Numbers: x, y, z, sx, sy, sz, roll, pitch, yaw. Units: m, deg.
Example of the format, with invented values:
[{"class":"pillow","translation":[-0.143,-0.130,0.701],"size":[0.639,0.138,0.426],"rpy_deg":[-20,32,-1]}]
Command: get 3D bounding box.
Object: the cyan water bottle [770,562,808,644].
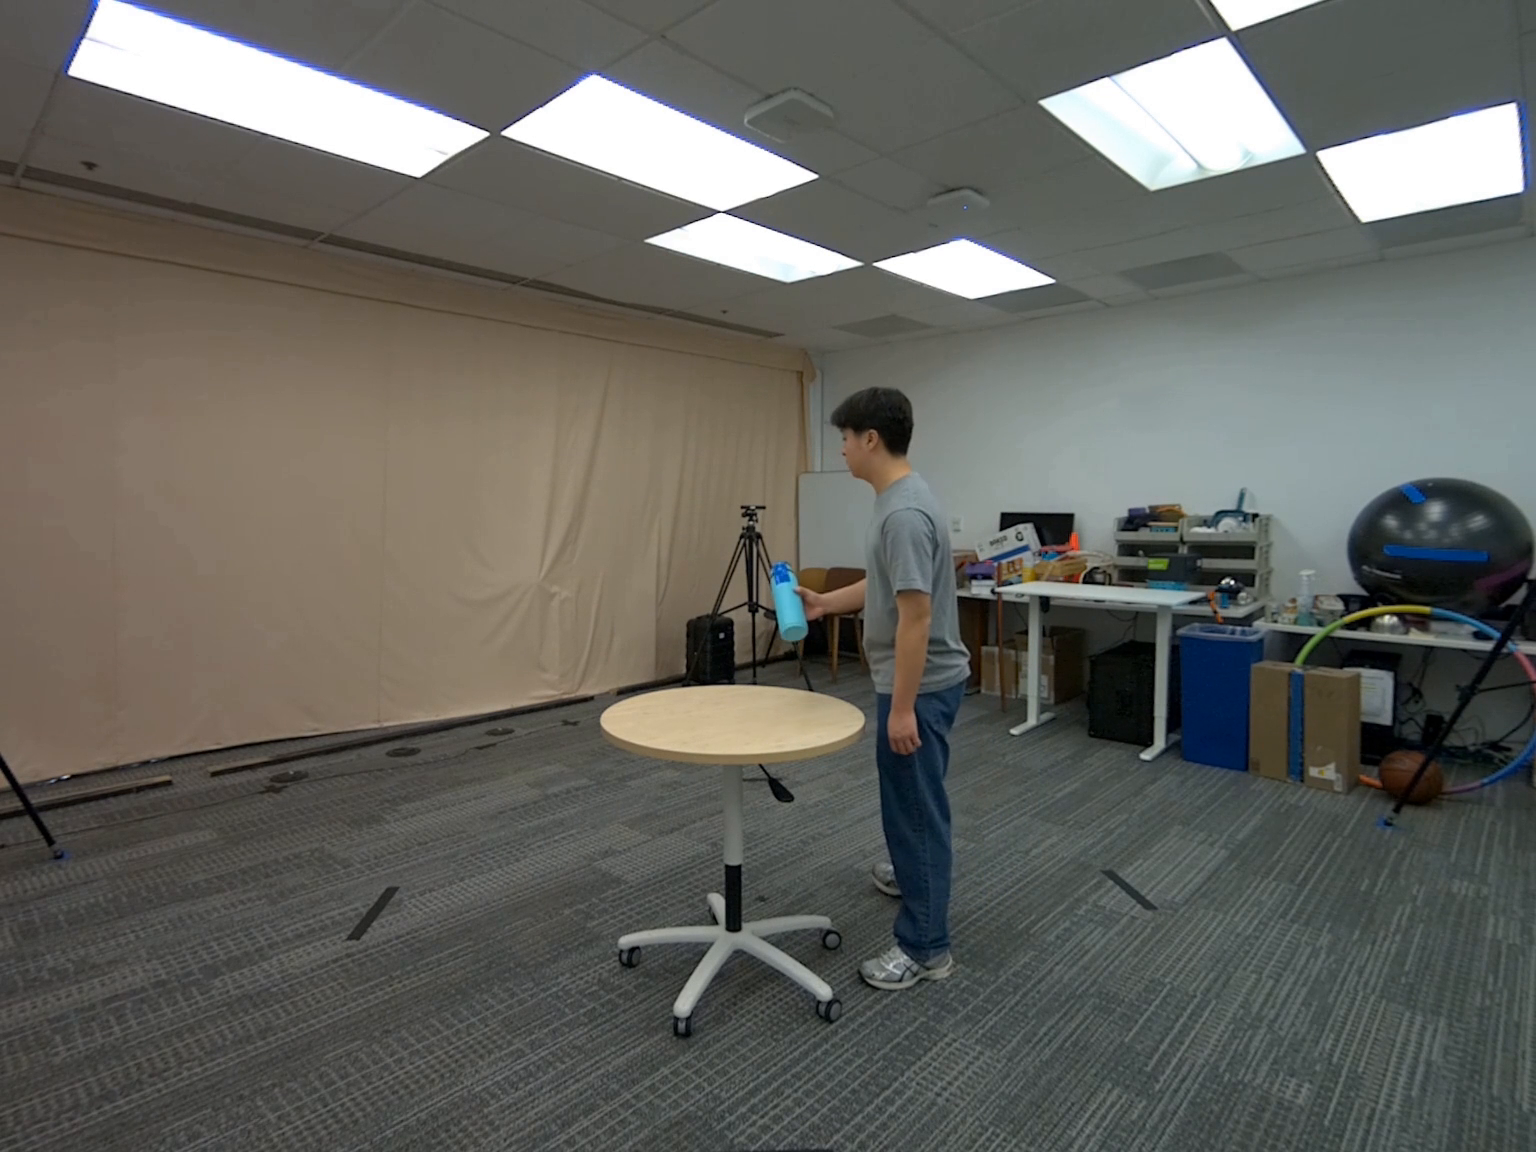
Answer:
[{"class":"cyan water bottle","translation":[0.075,0.083,2.749],"size":[0.092,0.290,0.091],"rpy_deg":[-6,-39,-7]}]
